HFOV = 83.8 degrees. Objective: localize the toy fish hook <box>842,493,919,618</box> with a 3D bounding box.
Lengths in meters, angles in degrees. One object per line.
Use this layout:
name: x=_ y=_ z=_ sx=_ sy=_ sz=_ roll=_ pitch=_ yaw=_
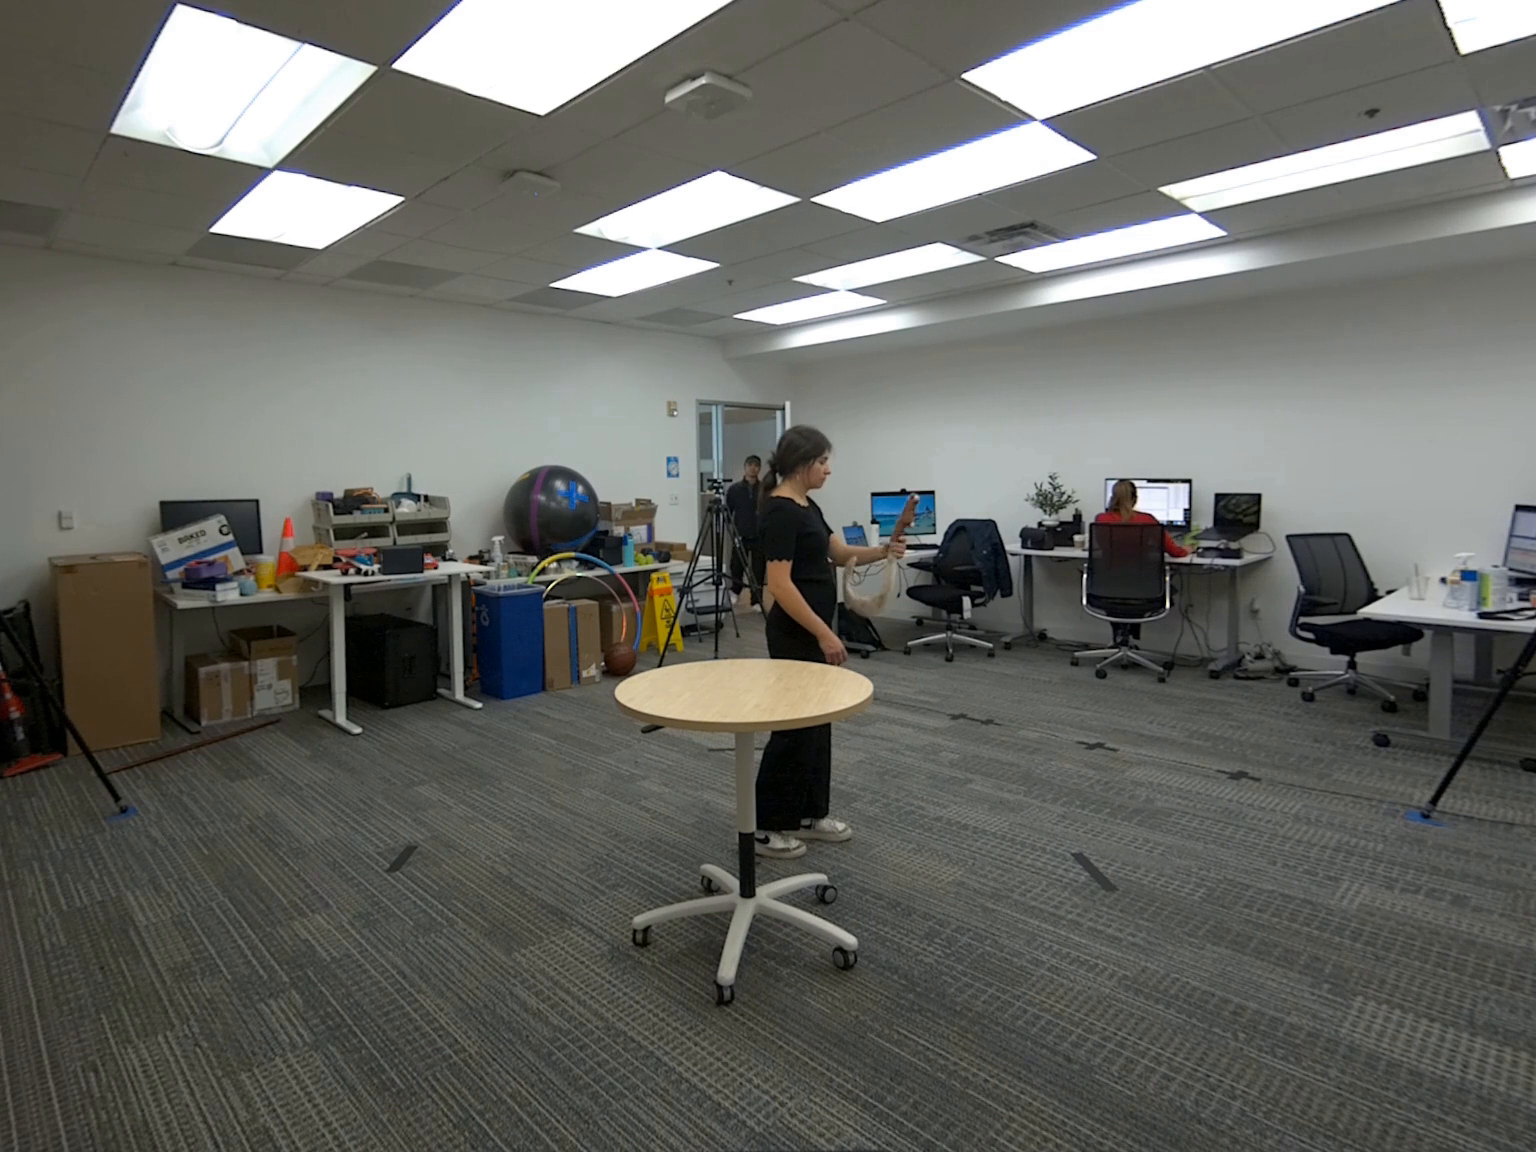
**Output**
toy fish hook: x=0.438 y=-0.098 z=3.249 sx=0.231 sy=0.504 sz=0.047 roll=24 pitch=10 yaw=25
